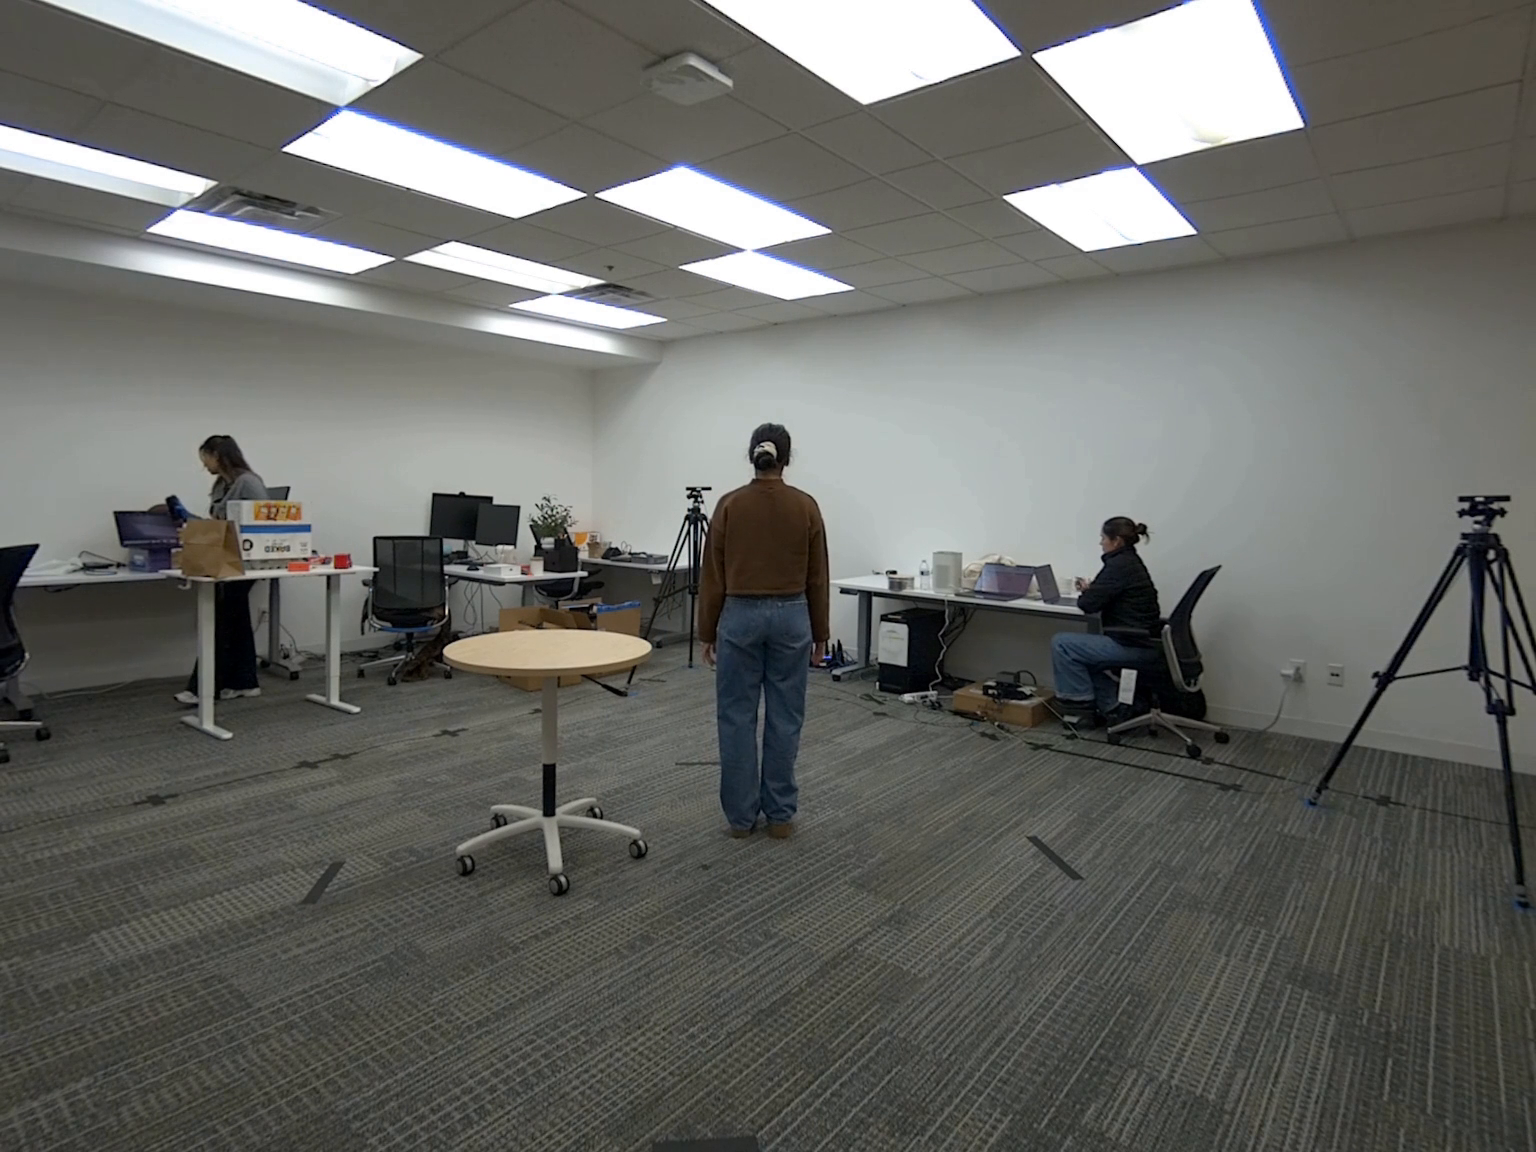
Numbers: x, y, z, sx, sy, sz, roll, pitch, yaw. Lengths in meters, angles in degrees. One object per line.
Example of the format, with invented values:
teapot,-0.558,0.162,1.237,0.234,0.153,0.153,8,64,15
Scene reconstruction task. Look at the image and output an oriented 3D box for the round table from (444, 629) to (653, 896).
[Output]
round table,-0.850,0.656,3.207,0.784,0.784,0.789,1,4,-2
